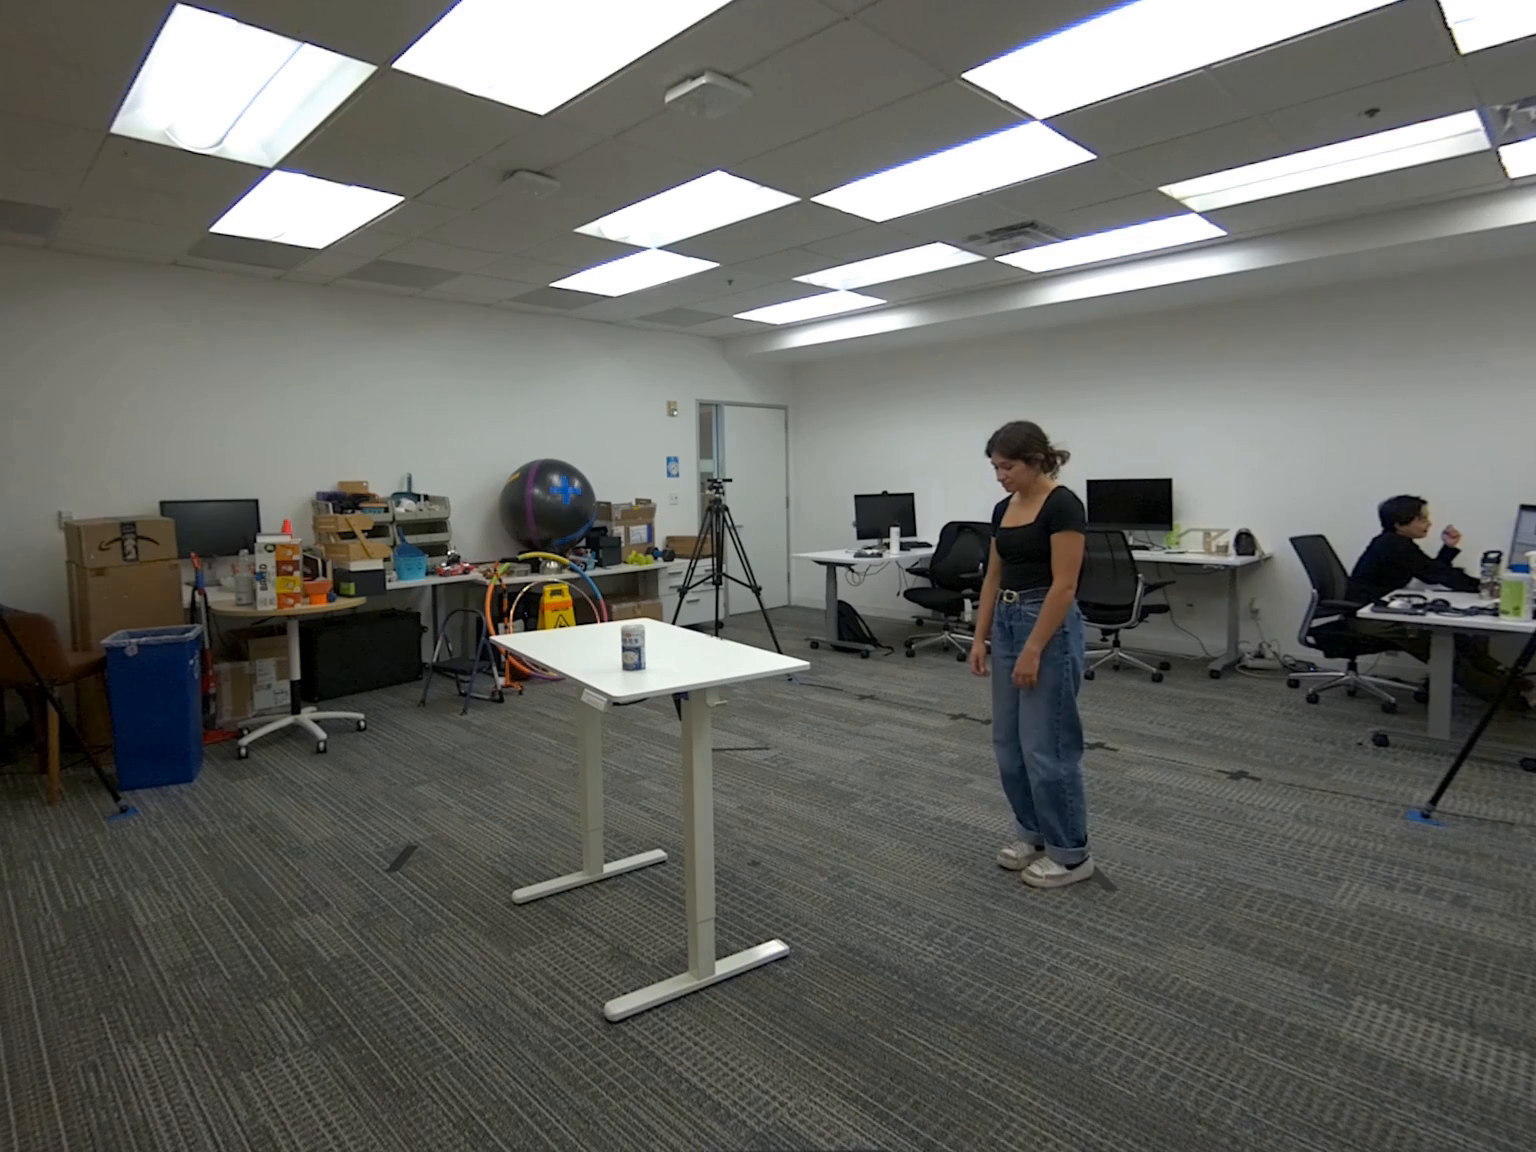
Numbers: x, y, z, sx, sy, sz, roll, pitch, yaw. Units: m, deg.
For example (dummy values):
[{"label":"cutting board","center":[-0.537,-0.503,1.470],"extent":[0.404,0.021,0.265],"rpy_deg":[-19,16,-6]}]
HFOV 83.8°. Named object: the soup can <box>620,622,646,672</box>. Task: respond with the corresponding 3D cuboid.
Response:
[{"label":"soup can","center":[-0.364,0.201,2.343],"extent":[0.067,0.121,0.067],"rpy_deg":[0,7,-2]}]
